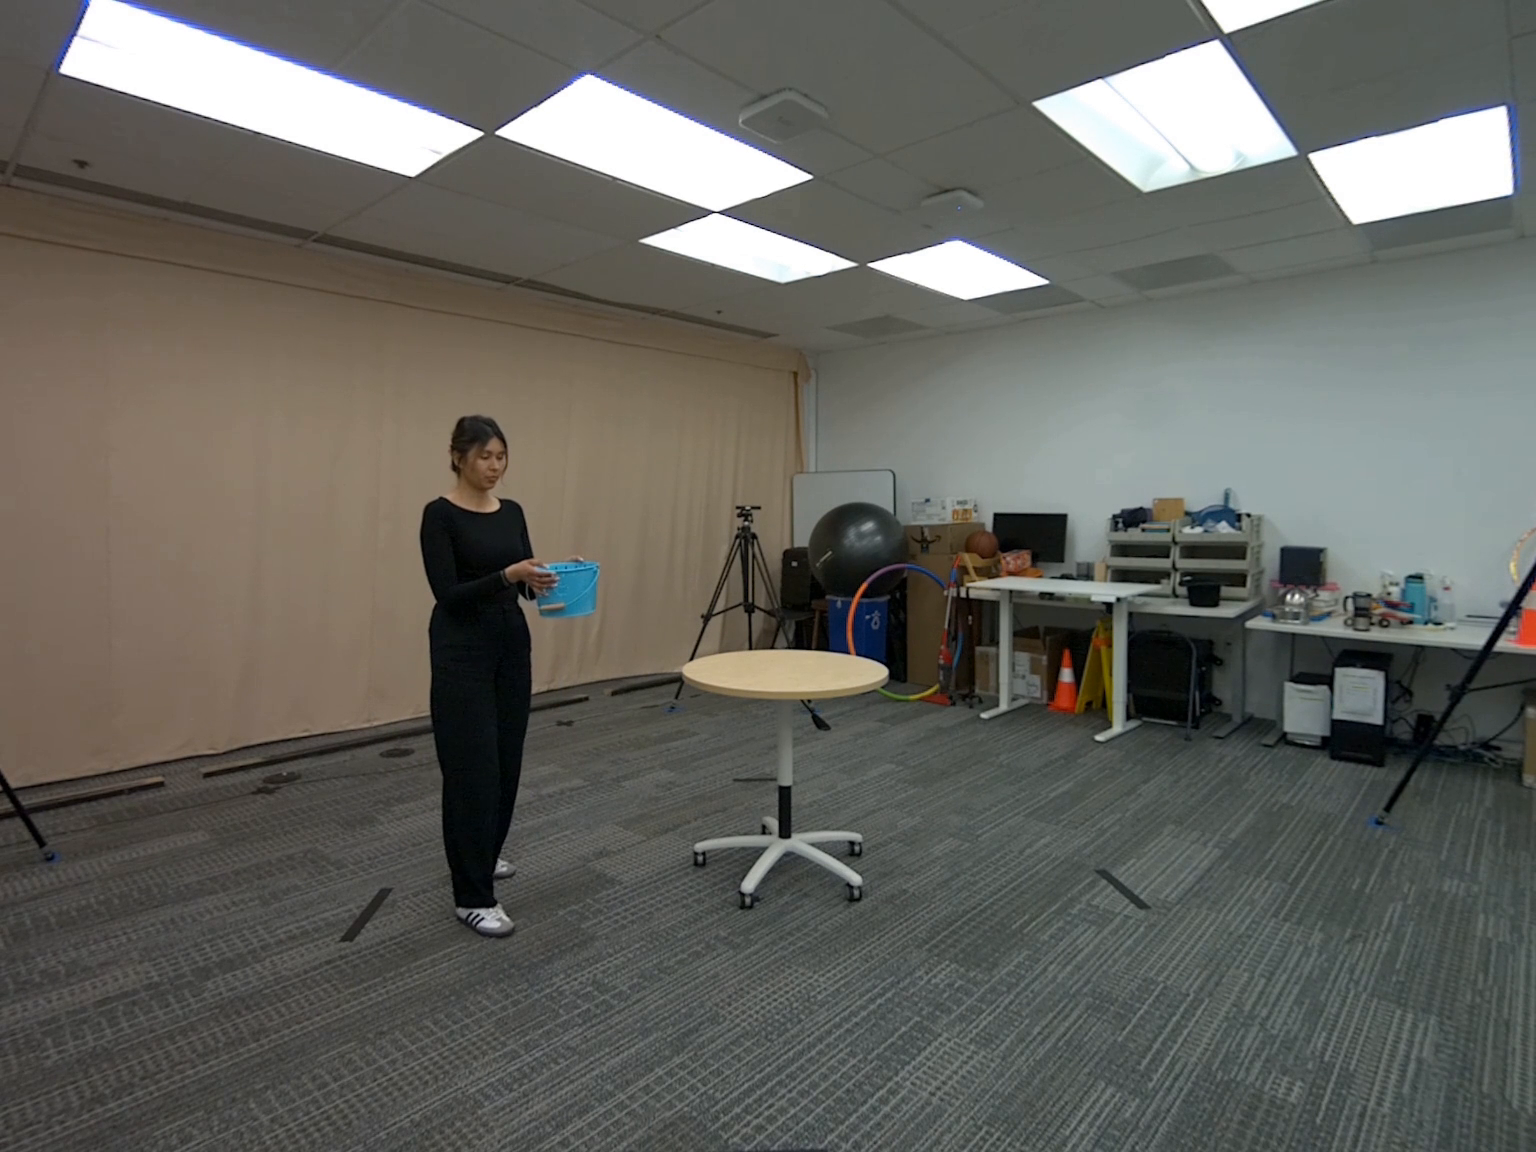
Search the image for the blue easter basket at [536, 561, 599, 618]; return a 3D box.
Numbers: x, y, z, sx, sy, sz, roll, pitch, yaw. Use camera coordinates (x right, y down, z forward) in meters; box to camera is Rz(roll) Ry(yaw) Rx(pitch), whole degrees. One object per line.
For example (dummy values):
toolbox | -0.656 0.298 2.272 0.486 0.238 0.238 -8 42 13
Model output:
blue easter basket | -0.687 0.051 2.742 0.243 0.155 0.245 -5 6 -1
